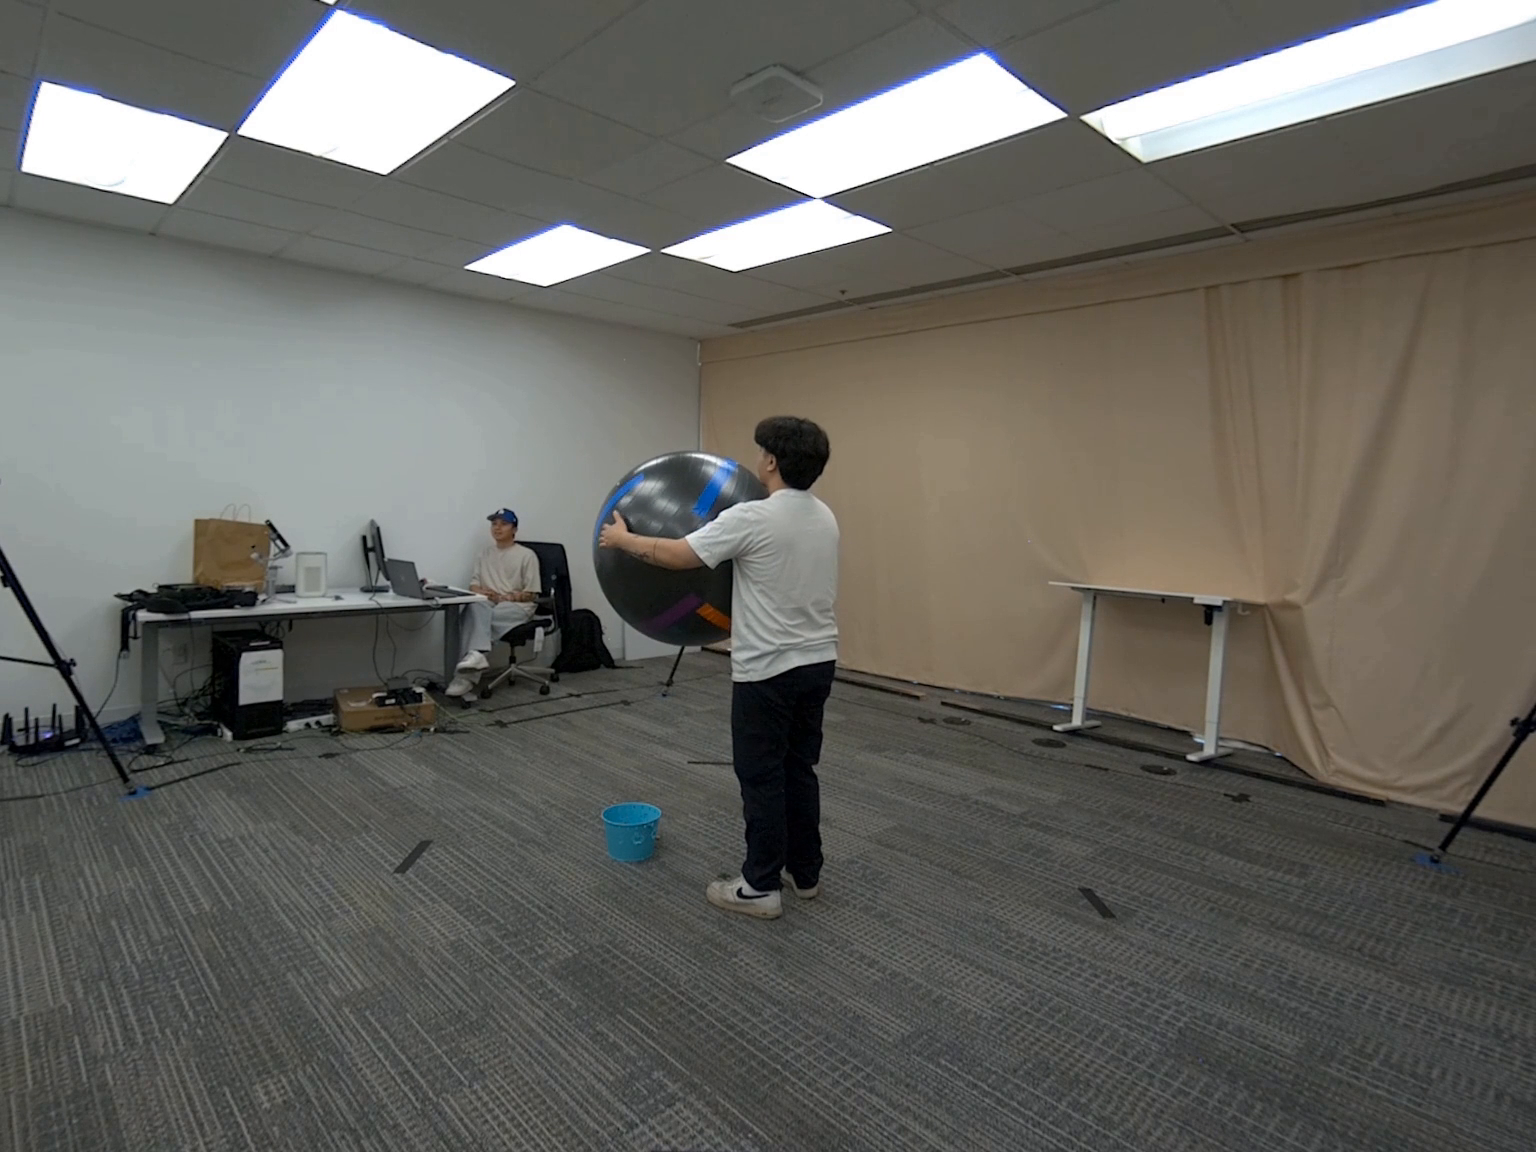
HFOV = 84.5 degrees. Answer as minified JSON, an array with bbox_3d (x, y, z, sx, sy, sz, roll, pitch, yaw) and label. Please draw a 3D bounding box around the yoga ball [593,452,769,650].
[{"bbox_3d":[-0.320,-0.100,3.289,0.757,0.756,0.760,1,4,-1],"label":"yoga ball"}]
